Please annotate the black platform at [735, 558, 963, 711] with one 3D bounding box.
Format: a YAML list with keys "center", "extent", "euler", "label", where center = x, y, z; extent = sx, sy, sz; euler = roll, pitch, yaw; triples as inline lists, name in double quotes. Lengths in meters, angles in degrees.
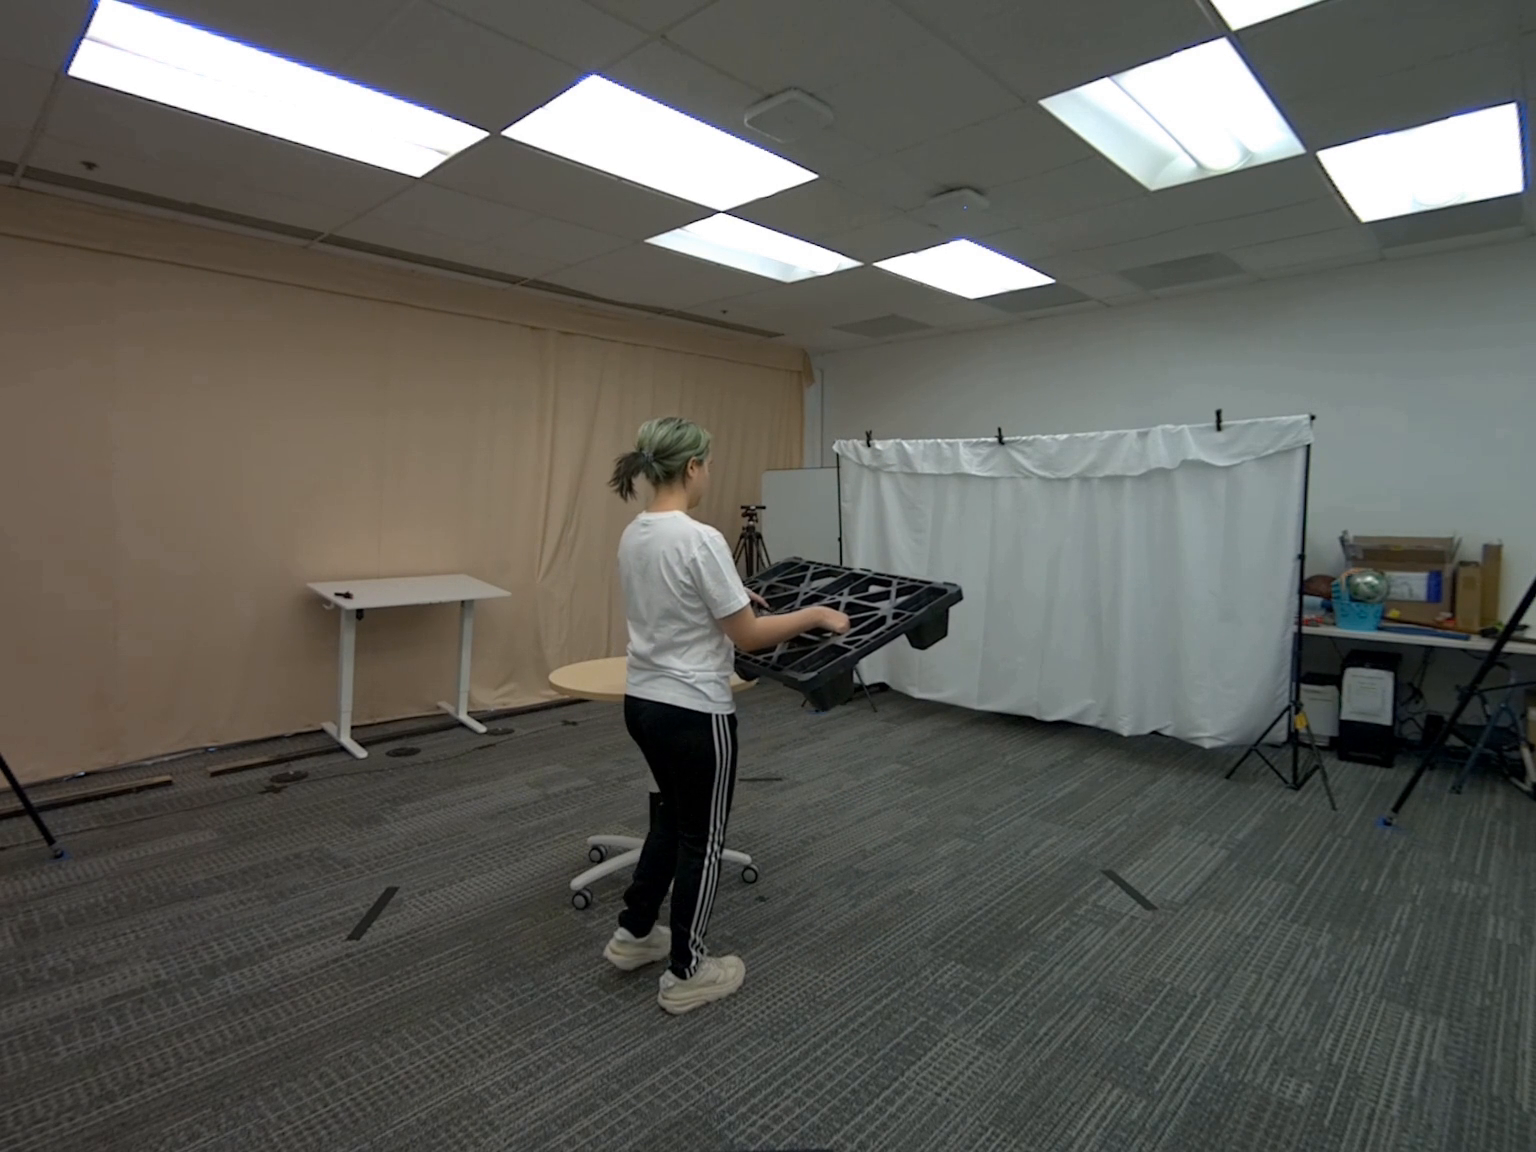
- center: [0.102, 0.152, 2.560]
  extent: [0.594, 0.141, 0.832]
  euler: [-26, 22, -29]
  label: "black platform"
